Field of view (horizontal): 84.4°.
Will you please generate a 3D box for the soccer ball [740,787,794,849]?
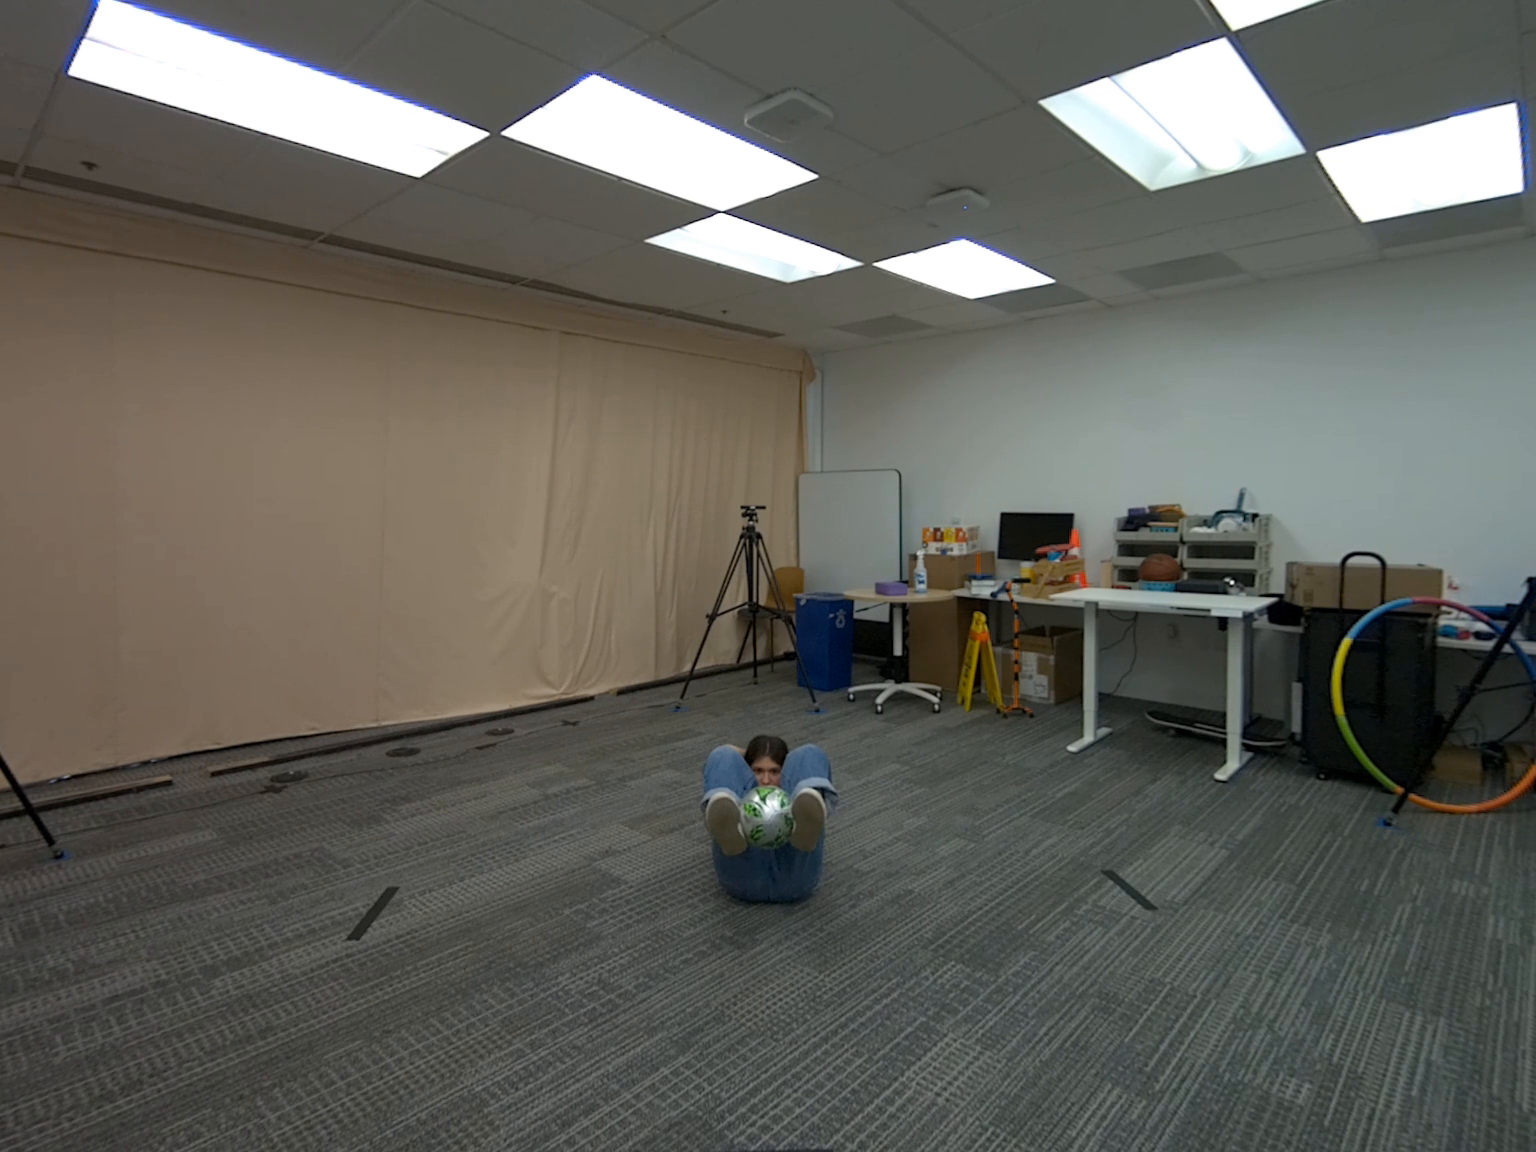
[{"bbox_3d":[0.010,0.742,2.571,0.187,0.187,0.188,3,4,-2],"label":"soccer ball"}]
